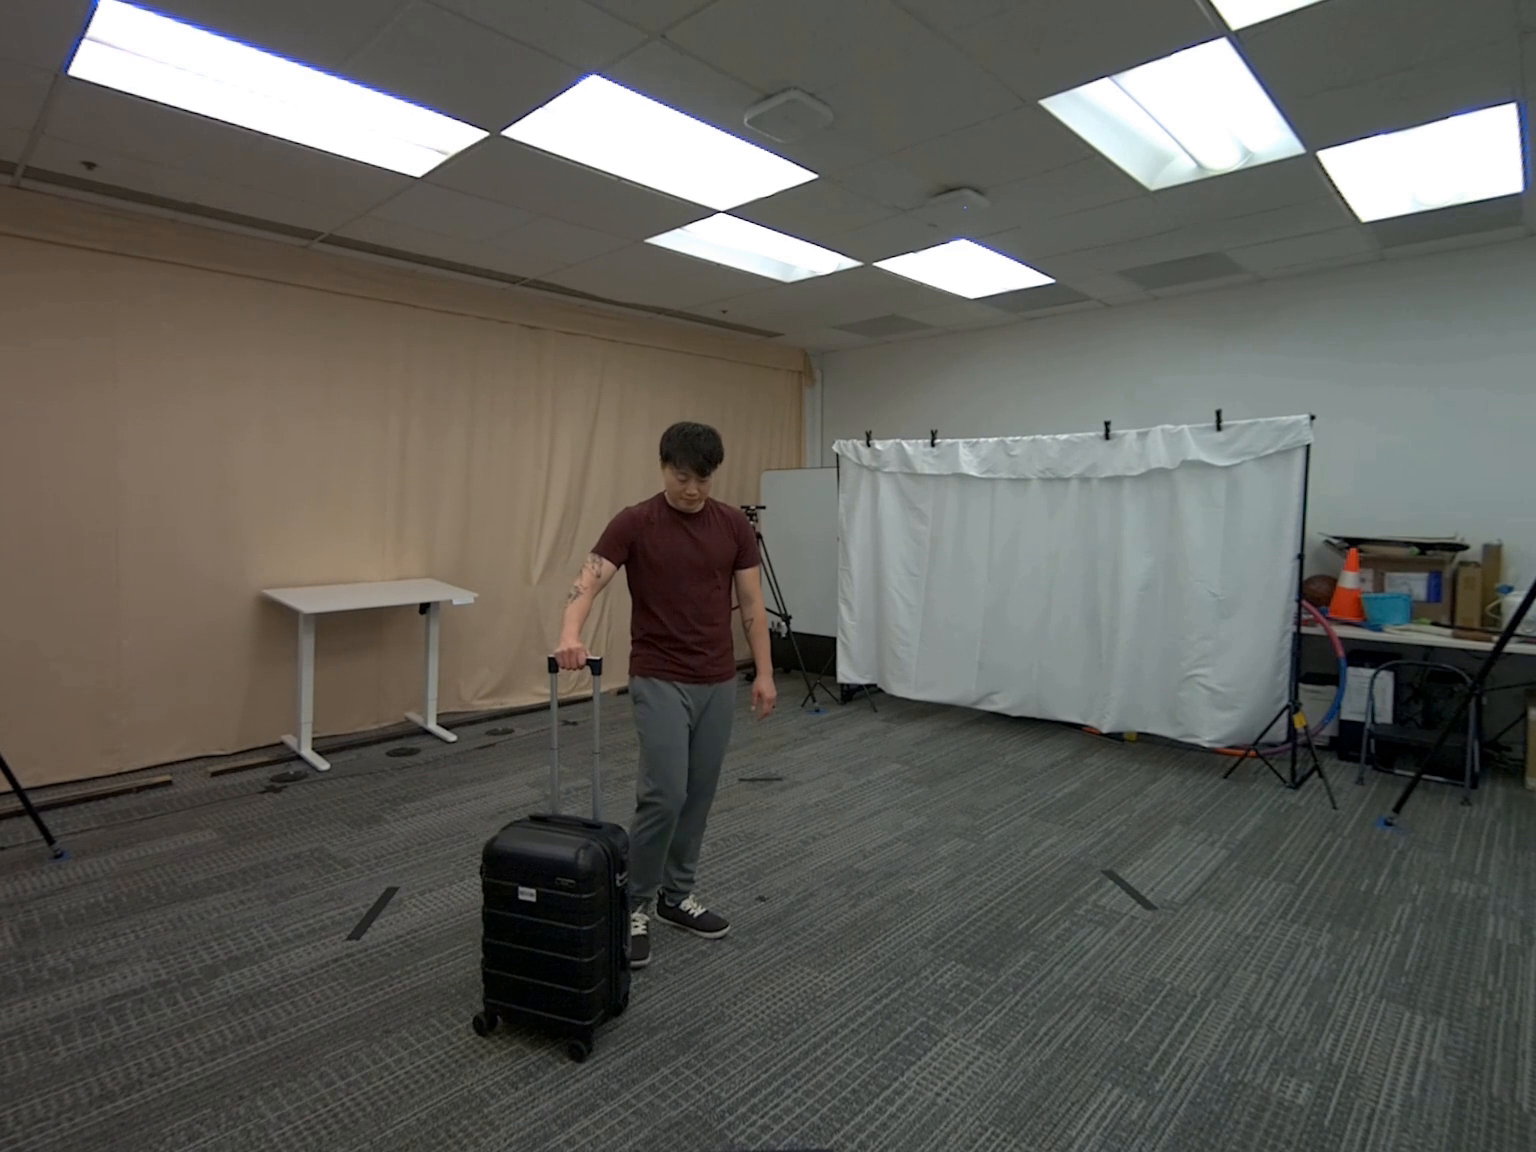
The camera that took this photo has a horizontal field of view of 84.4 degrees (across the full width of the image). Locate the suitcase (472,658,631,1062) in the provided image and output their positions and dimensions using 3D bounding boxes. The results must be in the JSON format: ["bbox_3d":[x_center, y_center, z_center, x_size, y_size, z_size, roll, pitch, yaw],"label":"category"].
[{"bbox_3d":[-0.568,0.735,2.236,0.391,0.976,0.253,1,5,16],"label":"suitcase"}]
